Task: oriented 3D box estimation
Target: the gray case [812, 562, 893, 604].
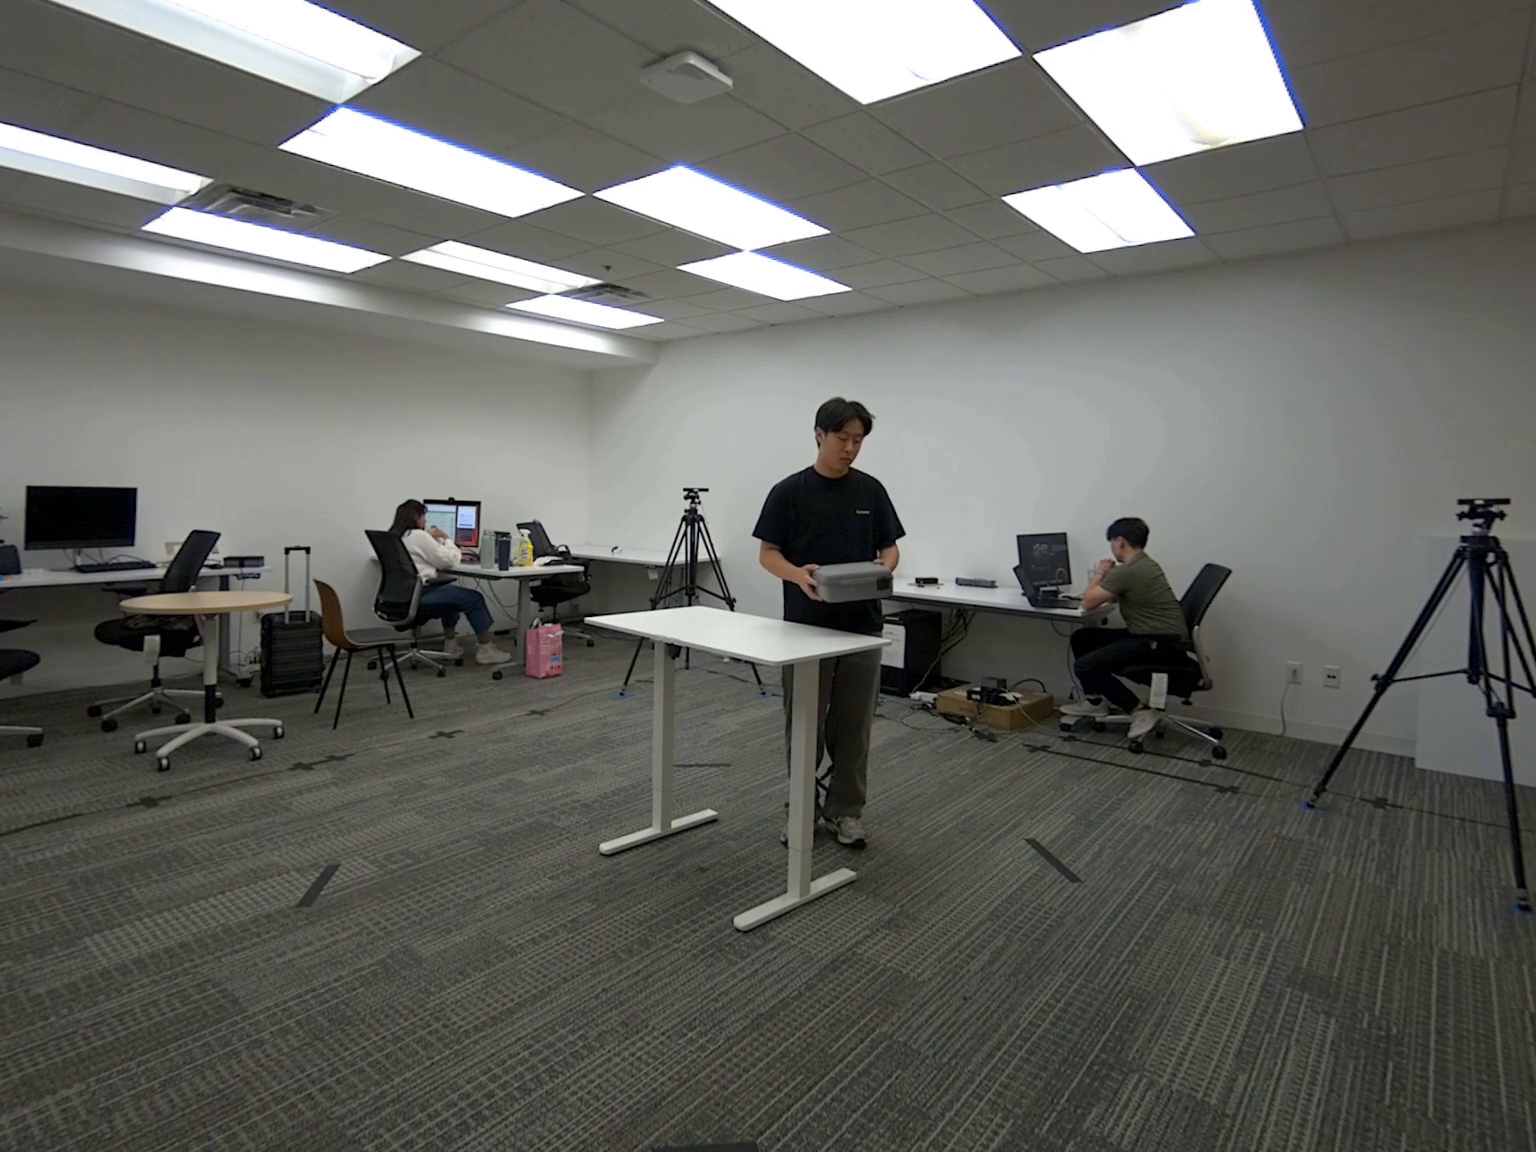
[{"bbox_3d":[0.303,0.018,3.101,0.262,0.102,0.291,-3,9,-6],"label":"gray case"}]
